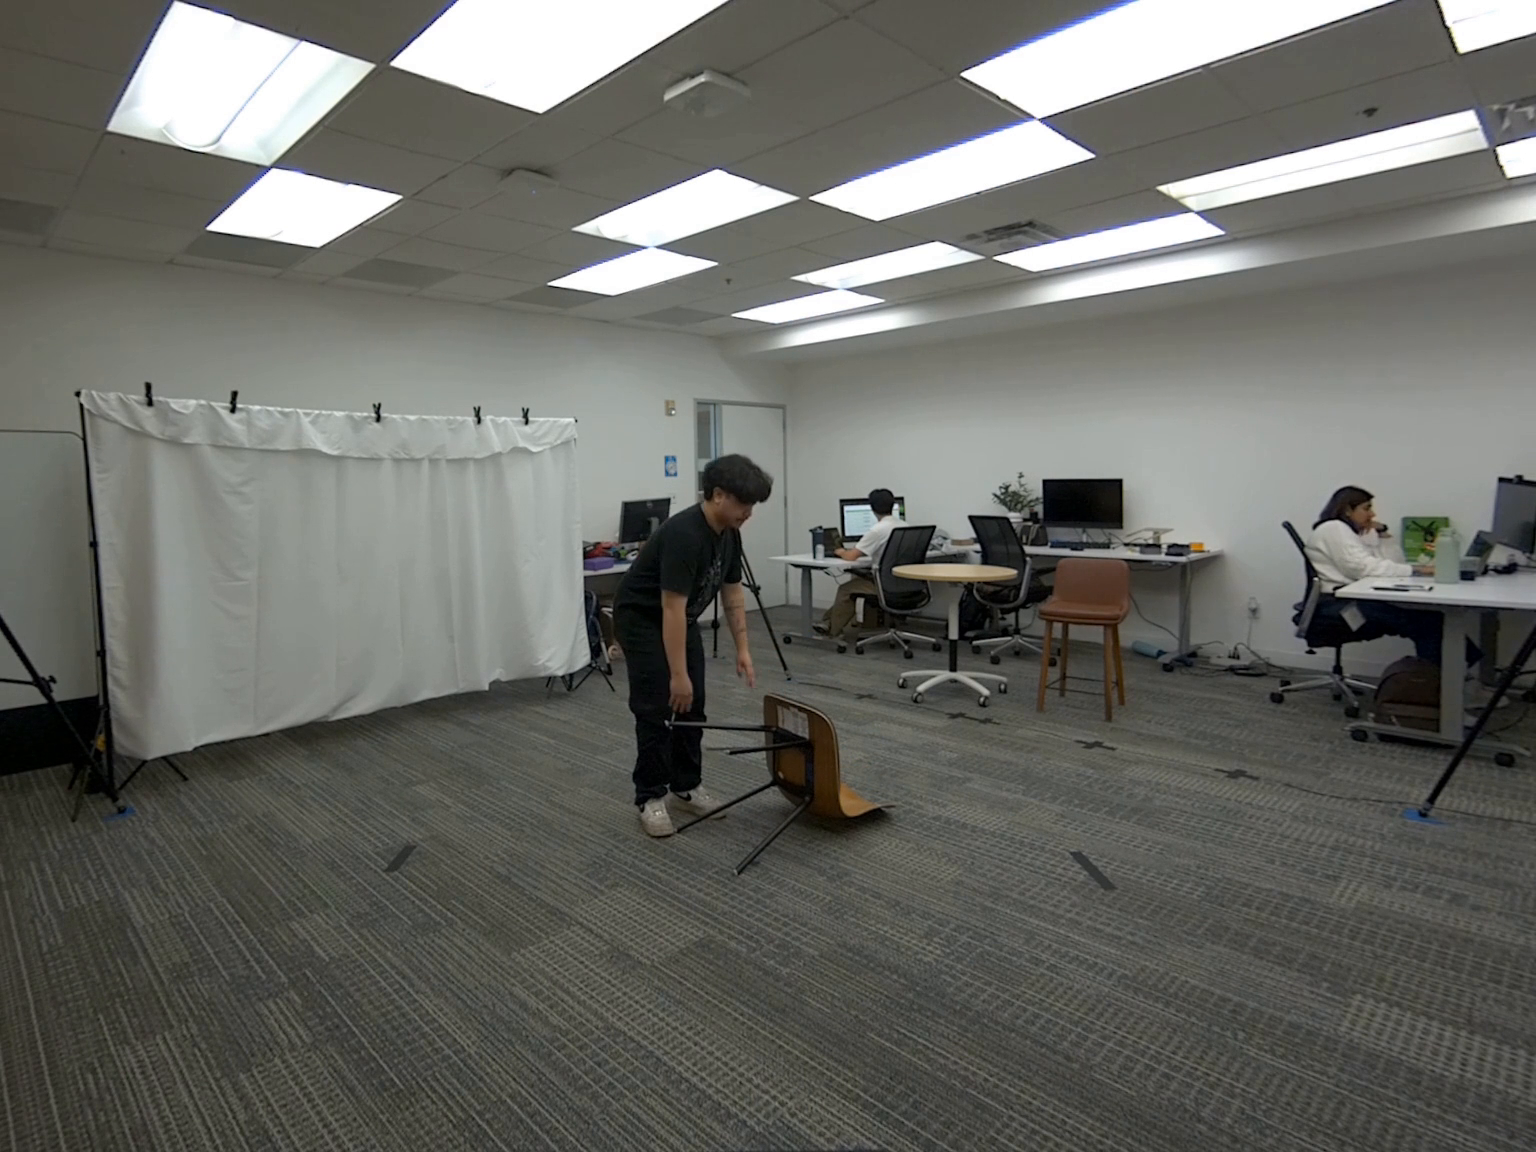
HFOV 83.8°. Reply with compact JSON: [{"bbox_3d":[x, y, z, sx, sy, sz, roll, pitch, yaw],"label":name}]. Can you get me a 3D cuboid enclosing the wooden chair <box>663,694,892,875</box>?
[{"bbox_3d":[0.092,0.751,3.394,0.856,0.521,0.492,-4,5,-33],"label":"wooden chair"}]
